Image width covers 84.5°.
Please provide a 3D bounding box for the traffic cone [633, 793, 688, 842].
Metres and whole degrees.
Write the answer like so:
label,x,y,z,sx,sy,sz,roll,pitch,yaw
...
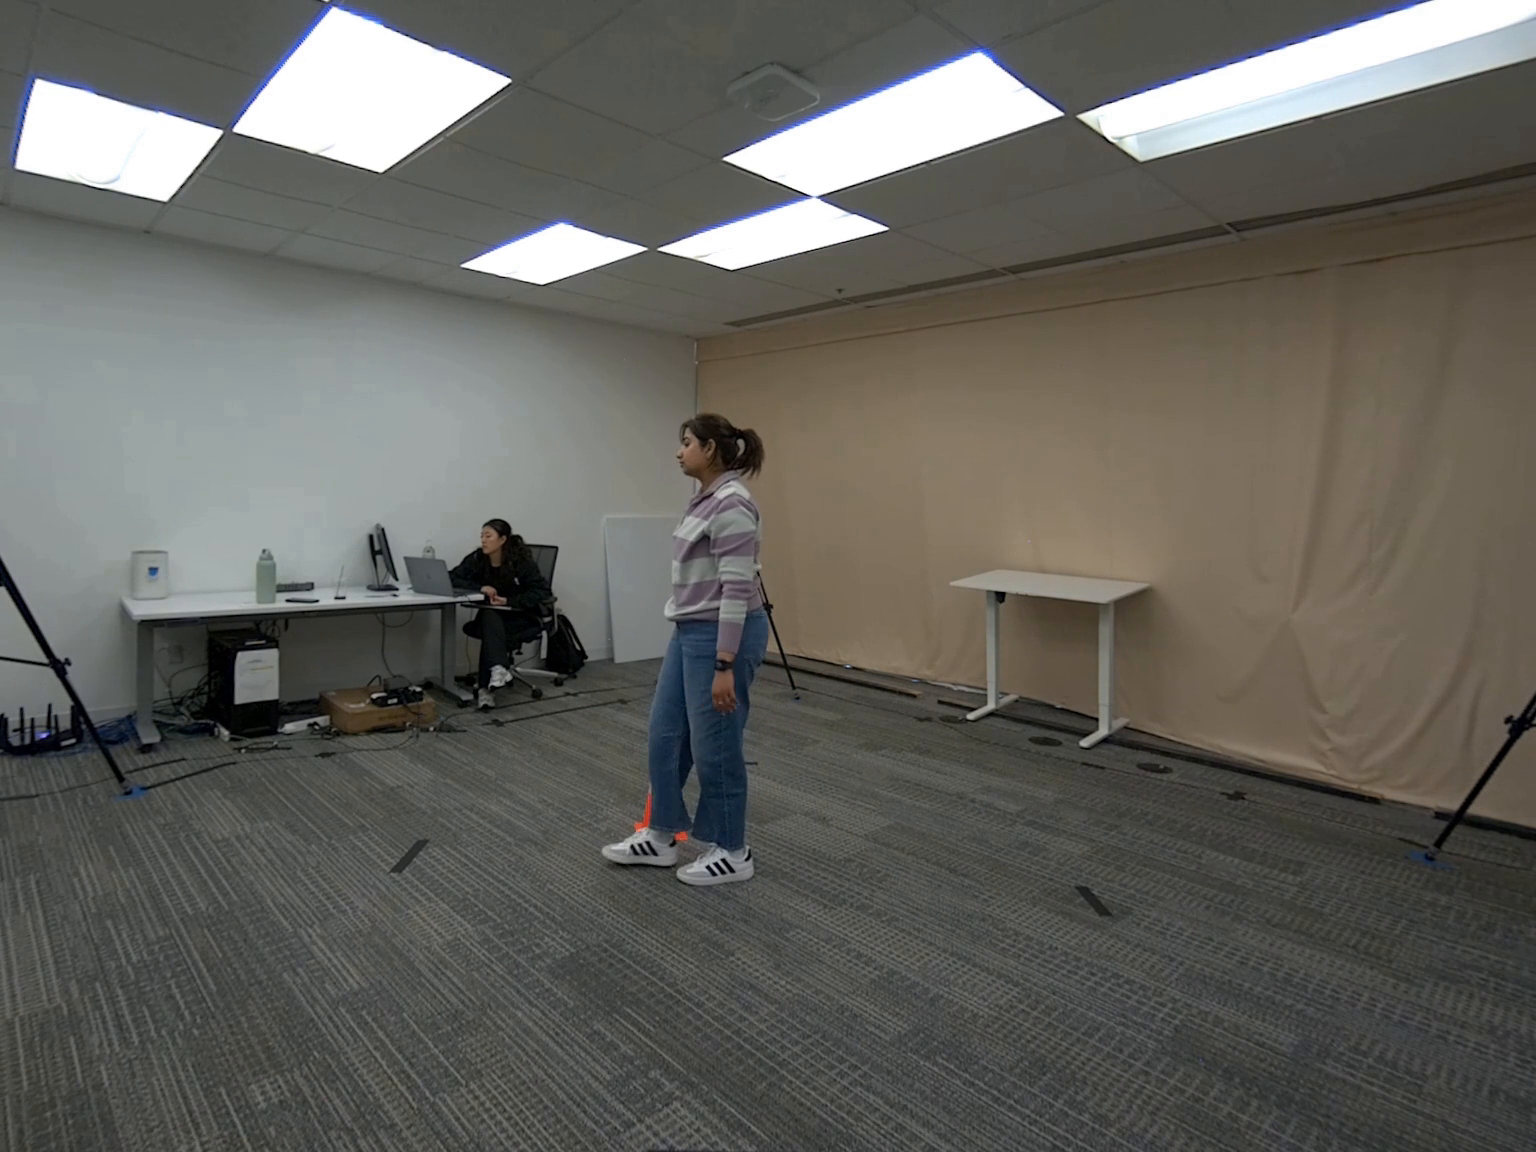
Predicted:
label,x,y,z,sx,sy,sz,roll,pitch,yaw
traffic cone,-0.450,0.881,3.487,0.201,0.383,0.208,1,2,-17
